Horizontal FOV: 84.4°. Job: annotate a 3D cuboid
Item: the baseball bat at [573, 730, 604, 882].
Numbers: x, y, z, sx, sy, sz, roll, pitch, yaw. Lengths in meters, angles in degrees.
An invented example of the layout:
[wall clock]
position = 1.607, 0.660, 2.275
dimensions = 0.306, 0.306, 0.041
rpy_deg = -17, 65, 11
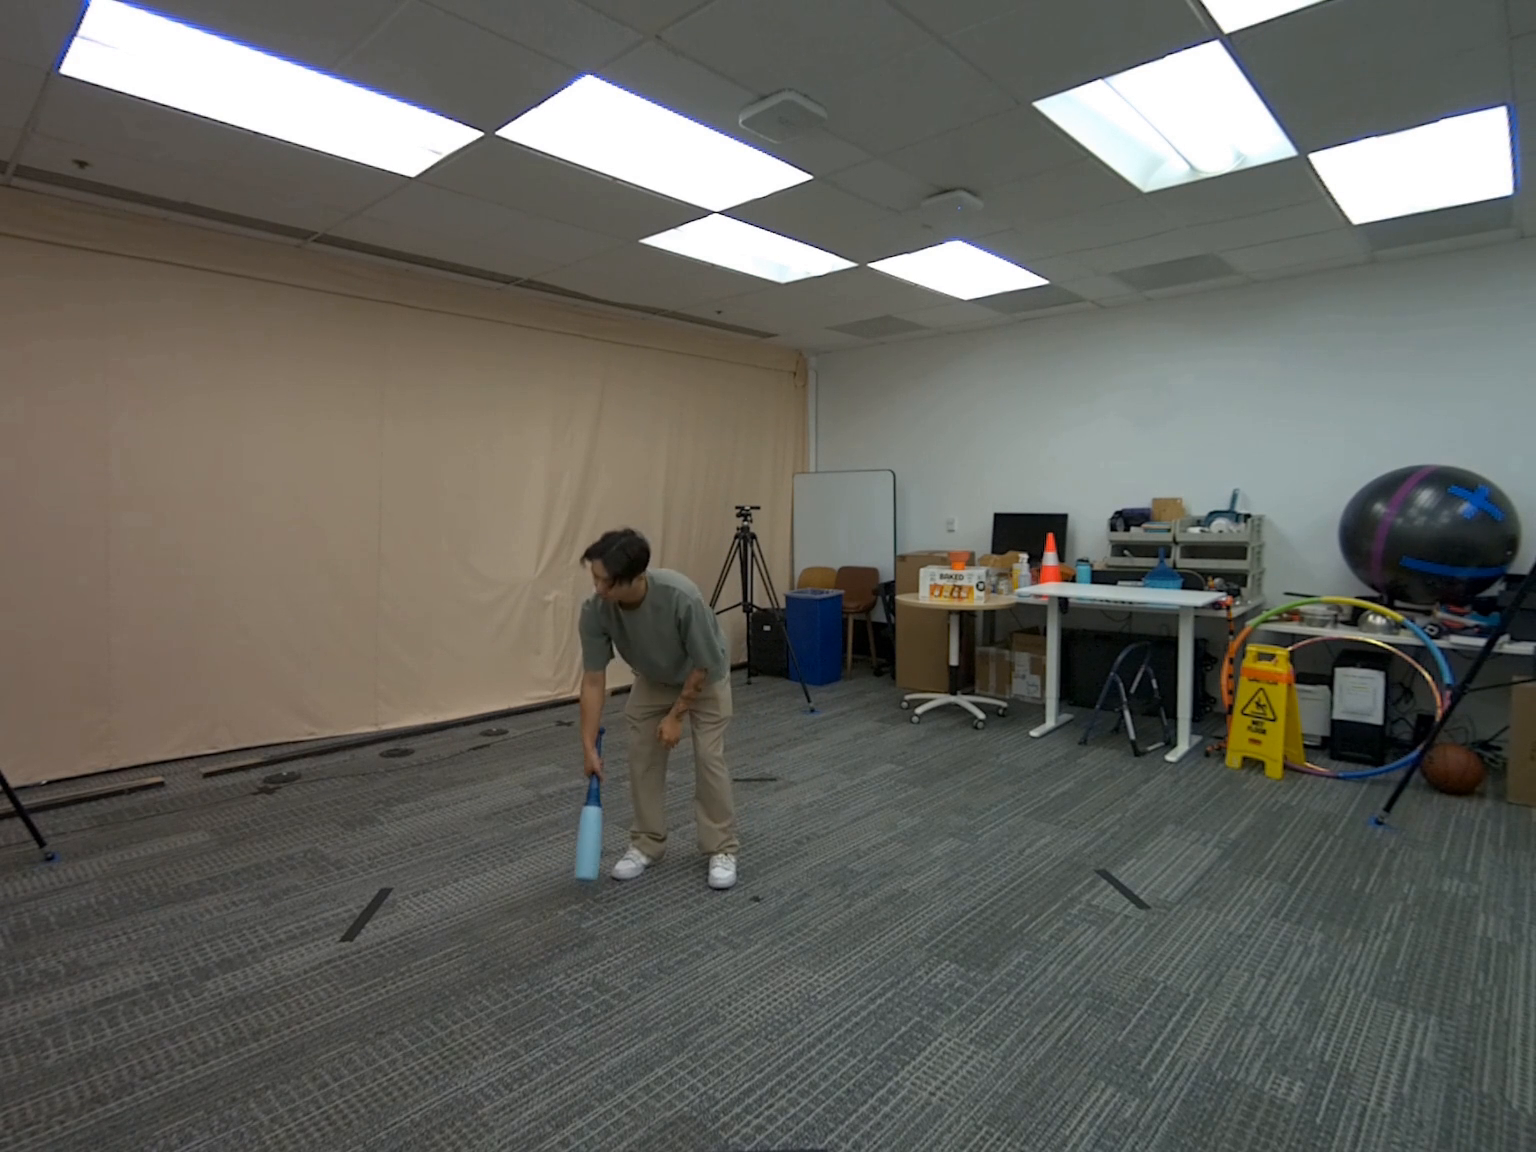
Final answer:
[baseball bat]
position = -0.640, 0.814, 3.048
dimensions = 0.089, 0.551, 0.088
rpy_deg = 0, -26, -2
